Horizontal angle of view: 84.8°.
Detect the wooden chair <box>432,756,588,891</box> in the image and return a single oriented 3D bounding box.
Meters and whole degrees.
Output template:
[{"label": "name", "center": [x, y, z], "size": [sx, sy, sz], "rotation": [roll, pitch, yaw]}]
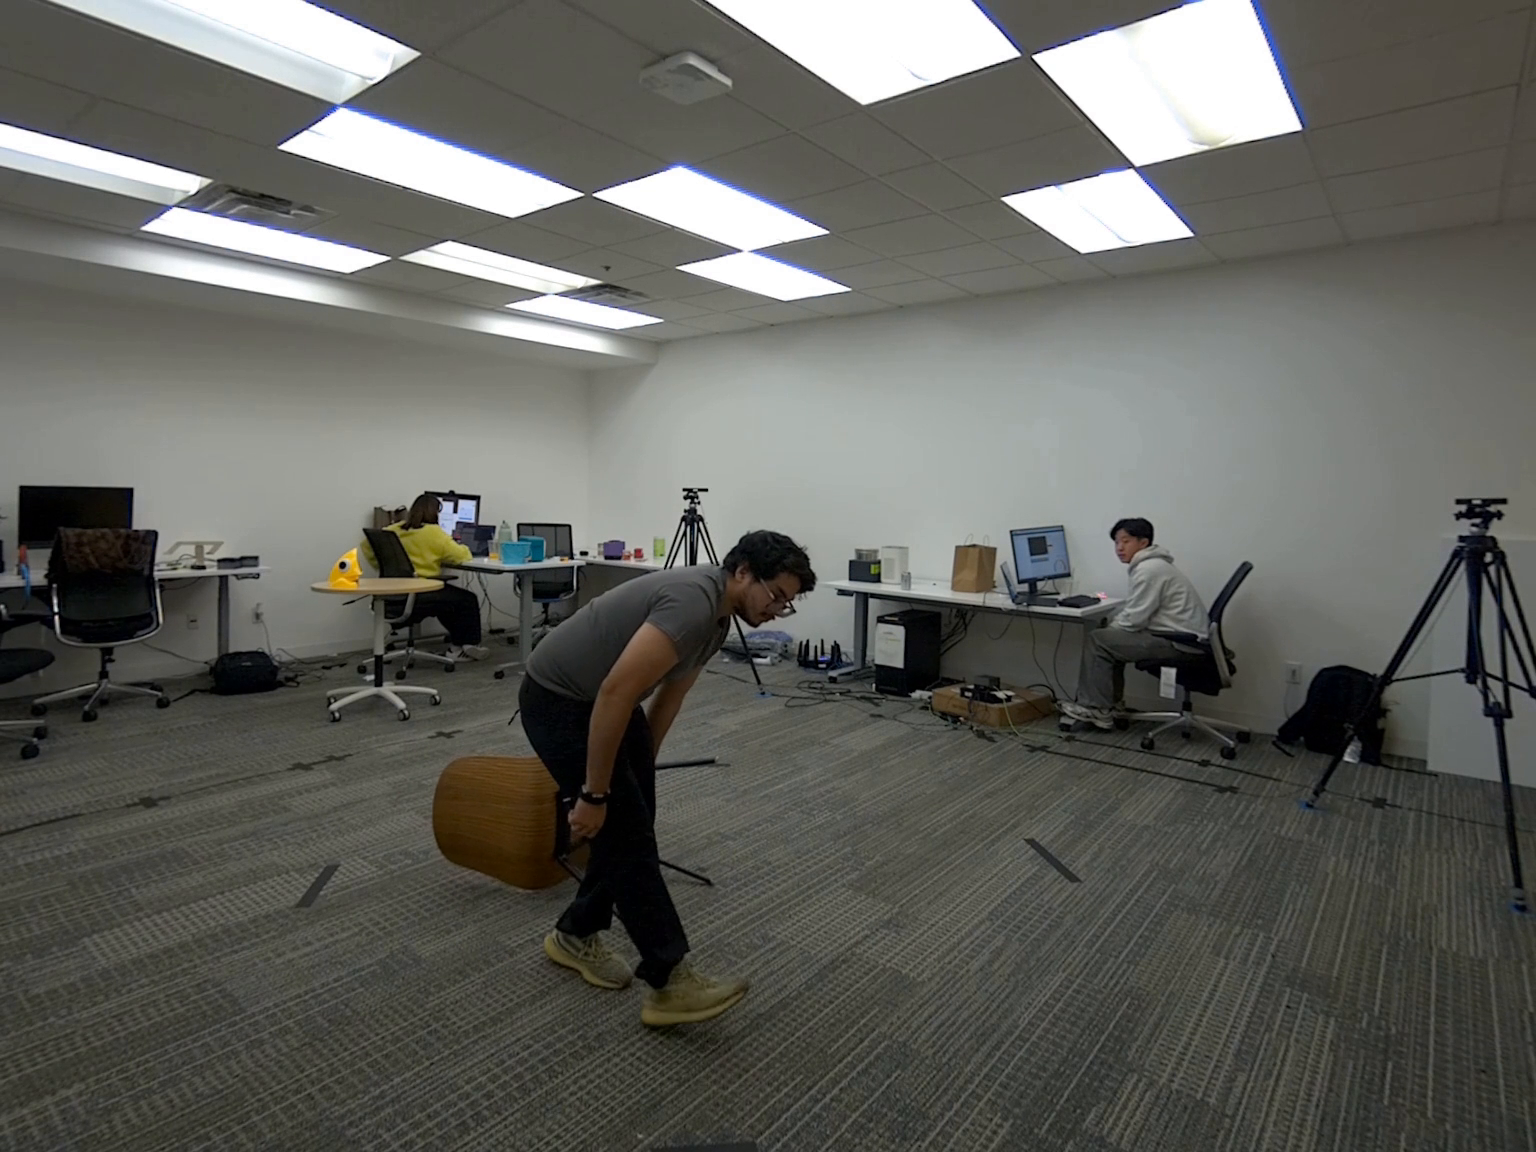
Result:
[{"label": "wooden chair", "center": [-0.675, 0.845, 2.993], "size": [0.899, 0.477, 0.512], "rotation": [3, 4, 22]}]
